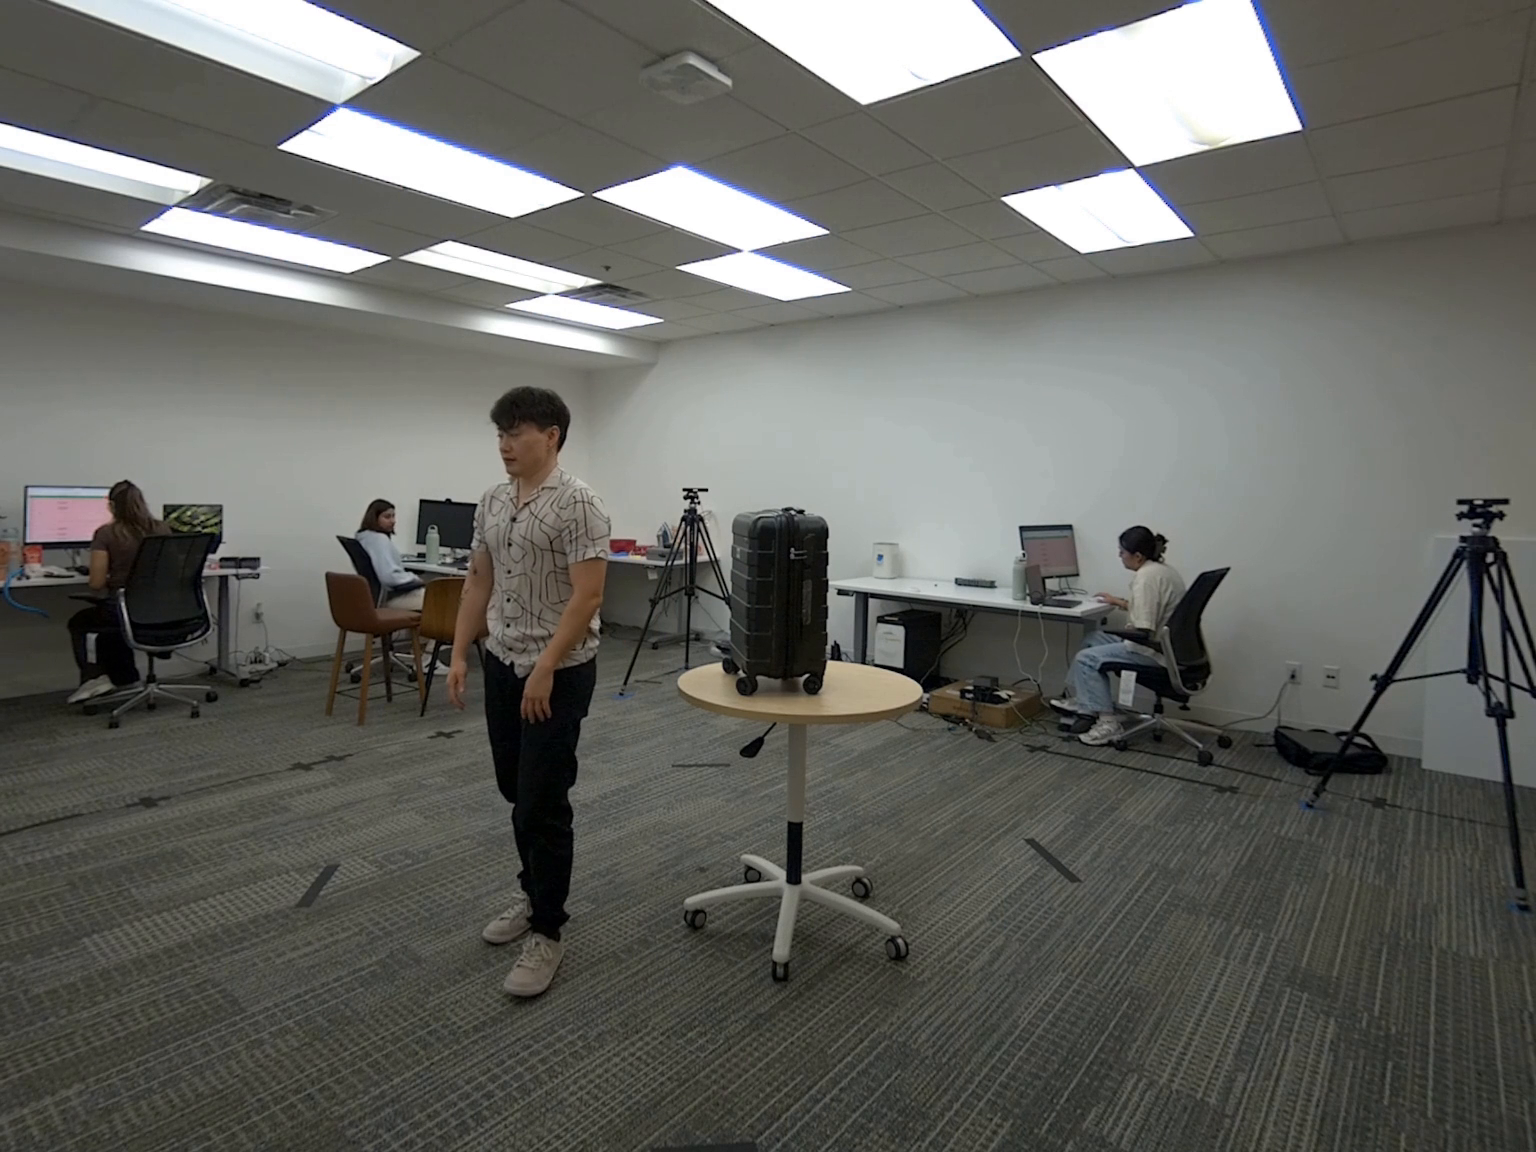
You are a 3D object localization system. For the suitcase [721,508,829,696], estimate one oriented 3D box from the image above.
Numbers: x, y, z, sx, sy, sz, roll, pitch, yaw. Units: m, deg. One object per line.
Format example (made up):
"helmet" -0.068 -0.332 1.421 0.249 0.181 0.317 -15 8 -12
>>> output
"suitcase" 0.008 0.061 2.644 0.246 0.547 0.380 2 5 -9
